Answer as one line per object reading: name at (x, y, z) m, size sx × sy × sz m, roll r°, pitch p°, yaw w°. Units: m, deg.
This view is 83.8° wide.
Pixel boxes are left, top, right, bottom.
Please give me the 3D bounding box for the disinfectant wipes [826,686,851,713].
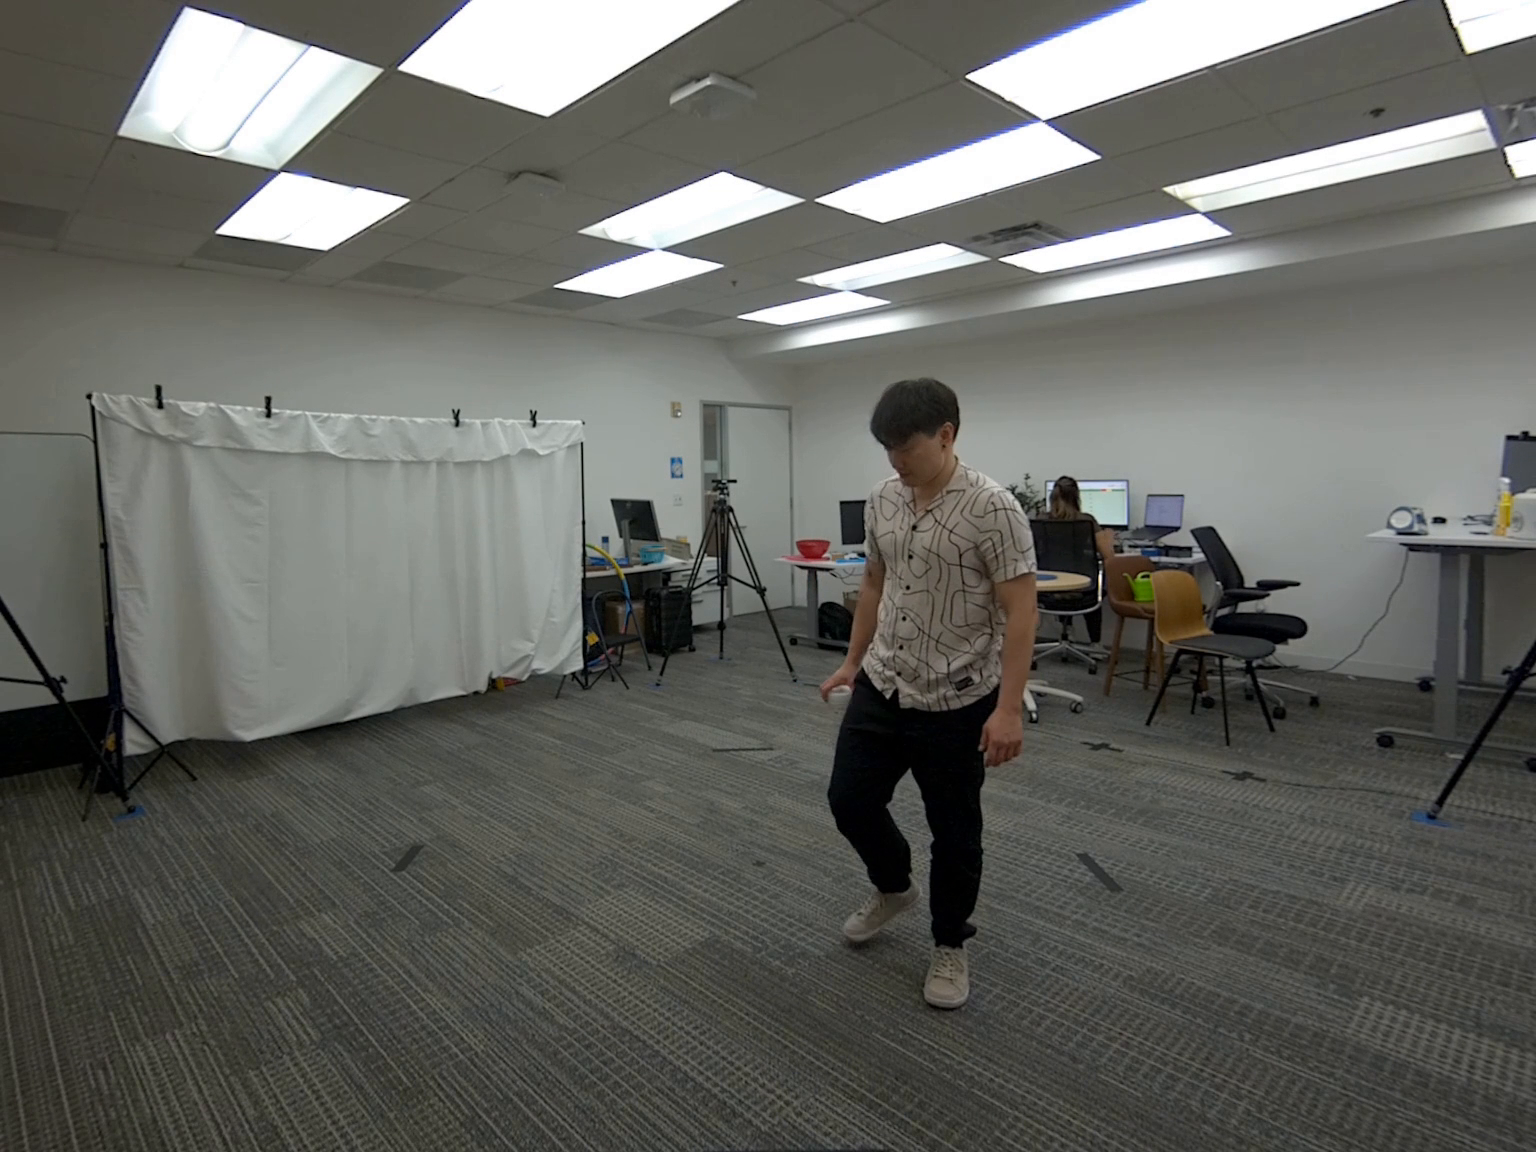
disinfectant wipes at (0.251, 0.453, 2.567) m, size 0.118 × 0.217 × 0.118 m, roll -6°, pitch 3°, yaw -1°
